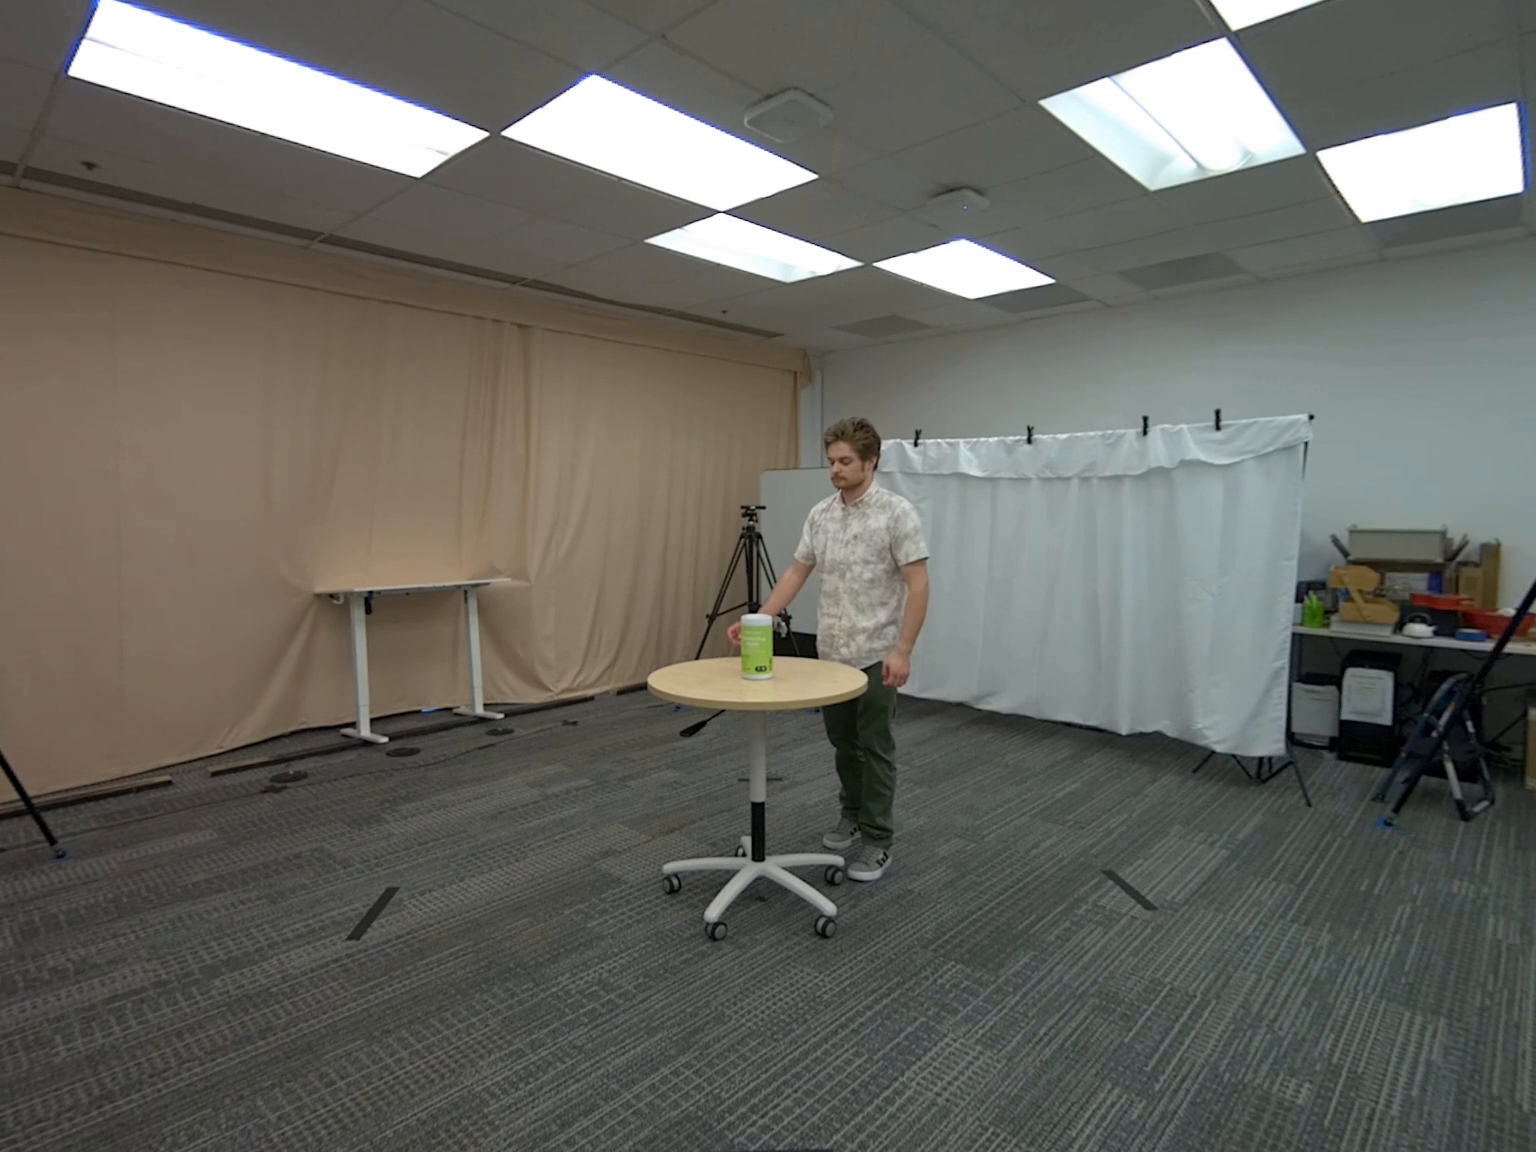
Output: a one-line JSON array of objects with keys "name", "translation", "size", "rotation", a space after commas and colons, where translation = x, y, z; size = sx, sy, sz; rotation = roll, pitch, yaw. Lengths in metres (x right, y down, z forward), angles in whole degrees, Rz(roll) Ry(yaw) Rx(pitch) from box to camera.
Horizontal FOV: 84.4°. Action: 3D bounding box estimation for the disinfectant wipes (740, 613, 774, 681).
[{"name": "disinfectant wipes", "translation": [-0.039, 0.246, 2.924], "size": [0.118, 0.217, 0.118], "rotation": [0, 4, -2]}]
